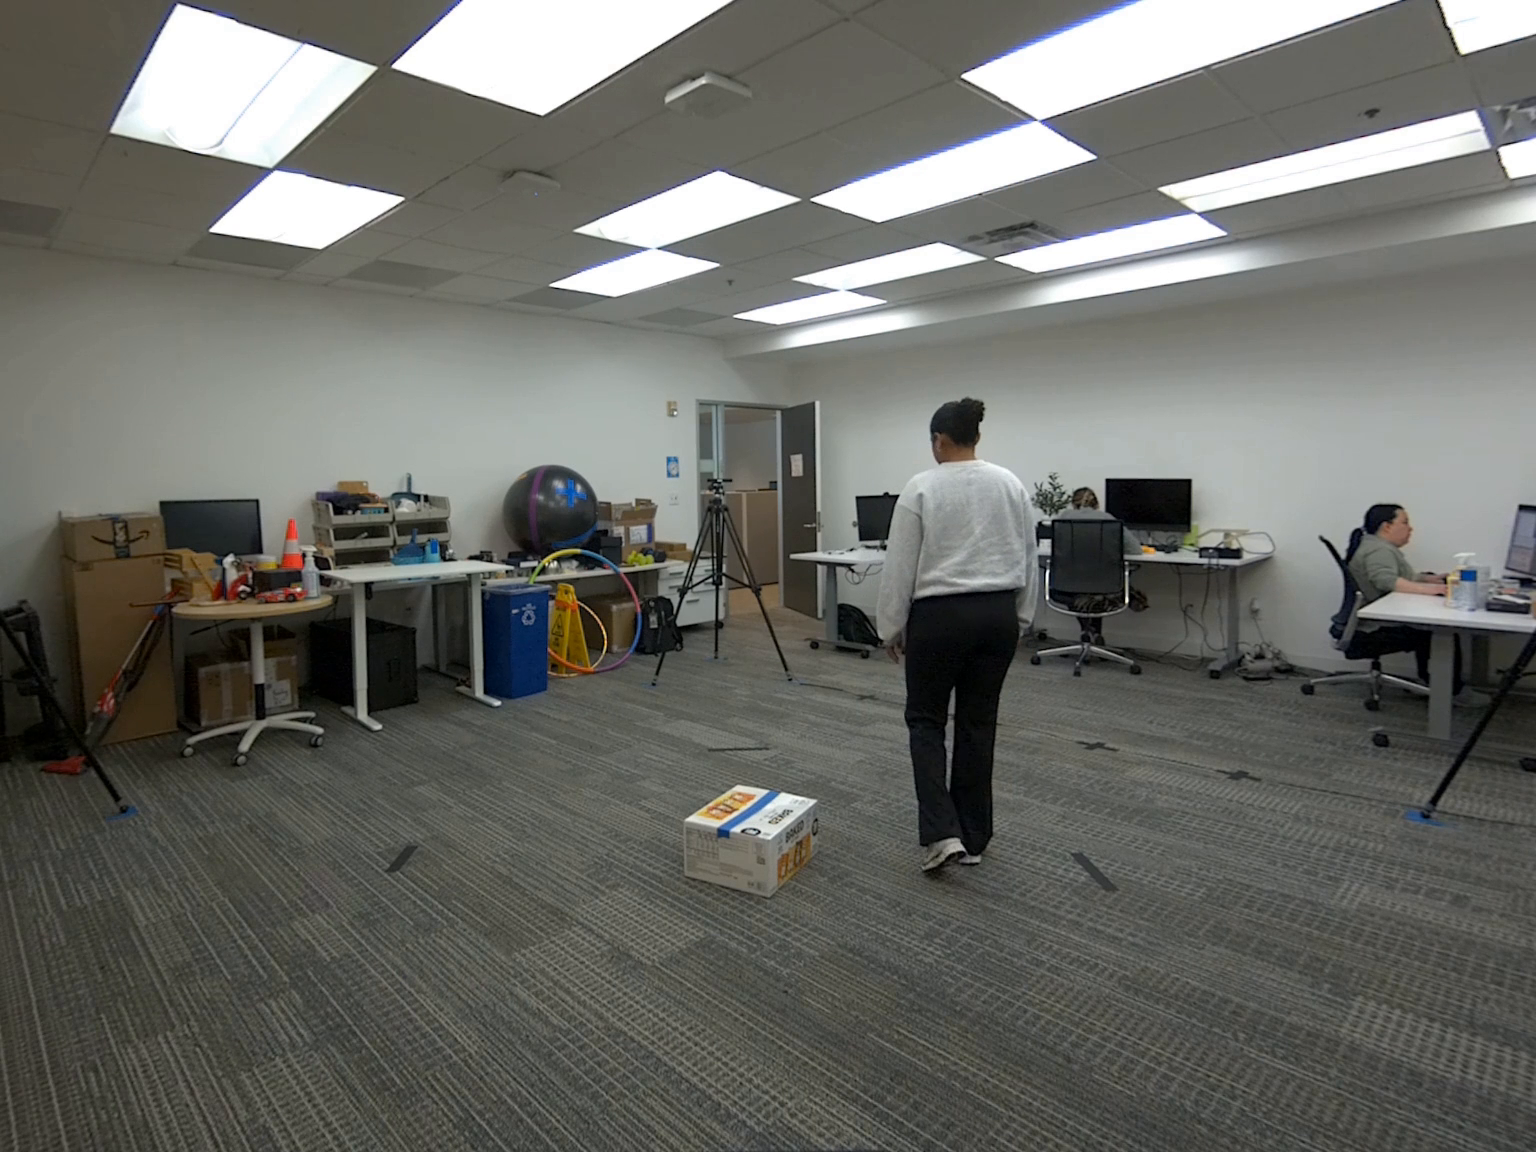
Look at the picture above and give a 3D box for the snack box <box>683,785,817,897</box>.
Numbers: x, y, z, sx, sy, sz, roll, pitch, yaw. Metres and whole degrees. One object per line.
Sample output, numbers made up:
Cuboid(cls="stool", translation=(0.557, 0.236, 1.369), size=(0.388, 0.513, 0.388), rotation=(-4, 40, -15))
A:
Cuboid(cls="snack box", translation=(-0.054, 0.946, 3.091), size=(0.349, 0.205, 0.396), rotation=(2, 6, 28))
